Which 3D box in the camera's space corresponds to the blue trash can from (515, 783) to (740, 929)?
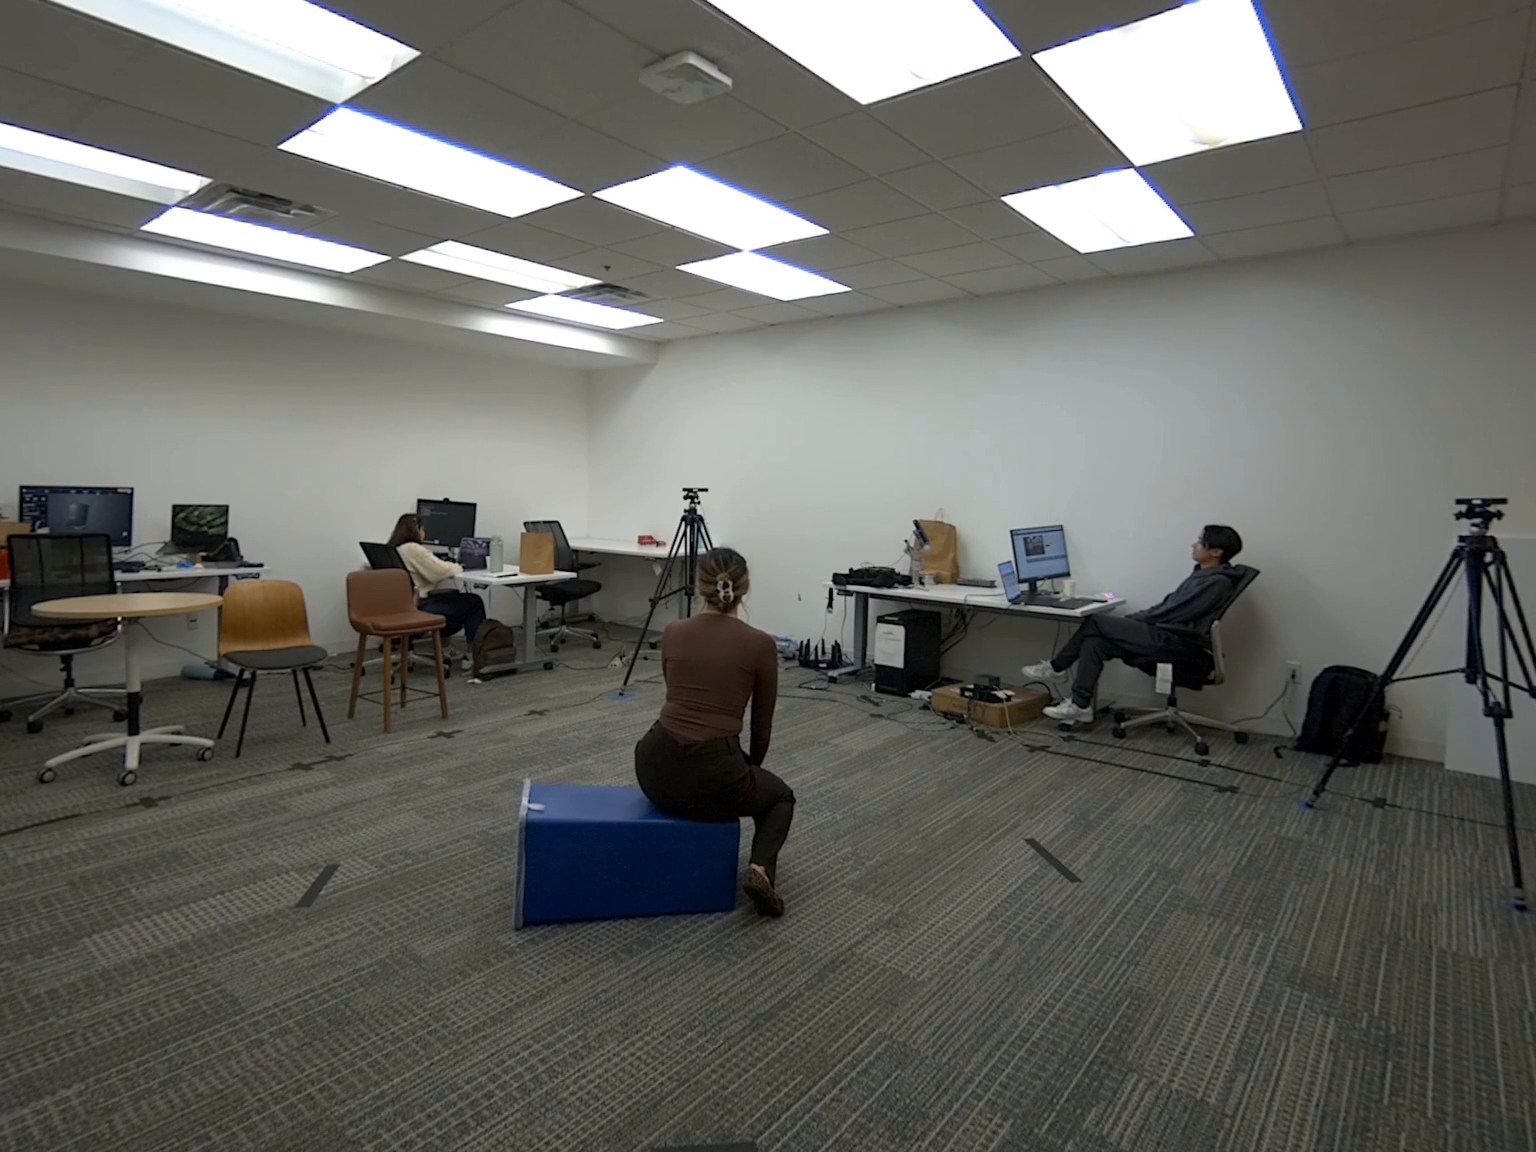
[{"bbox_3d":[-0.499,0.921,2.890,0.704,0.377,0.380,3,3,-12],"label":"blue trash can"}]
